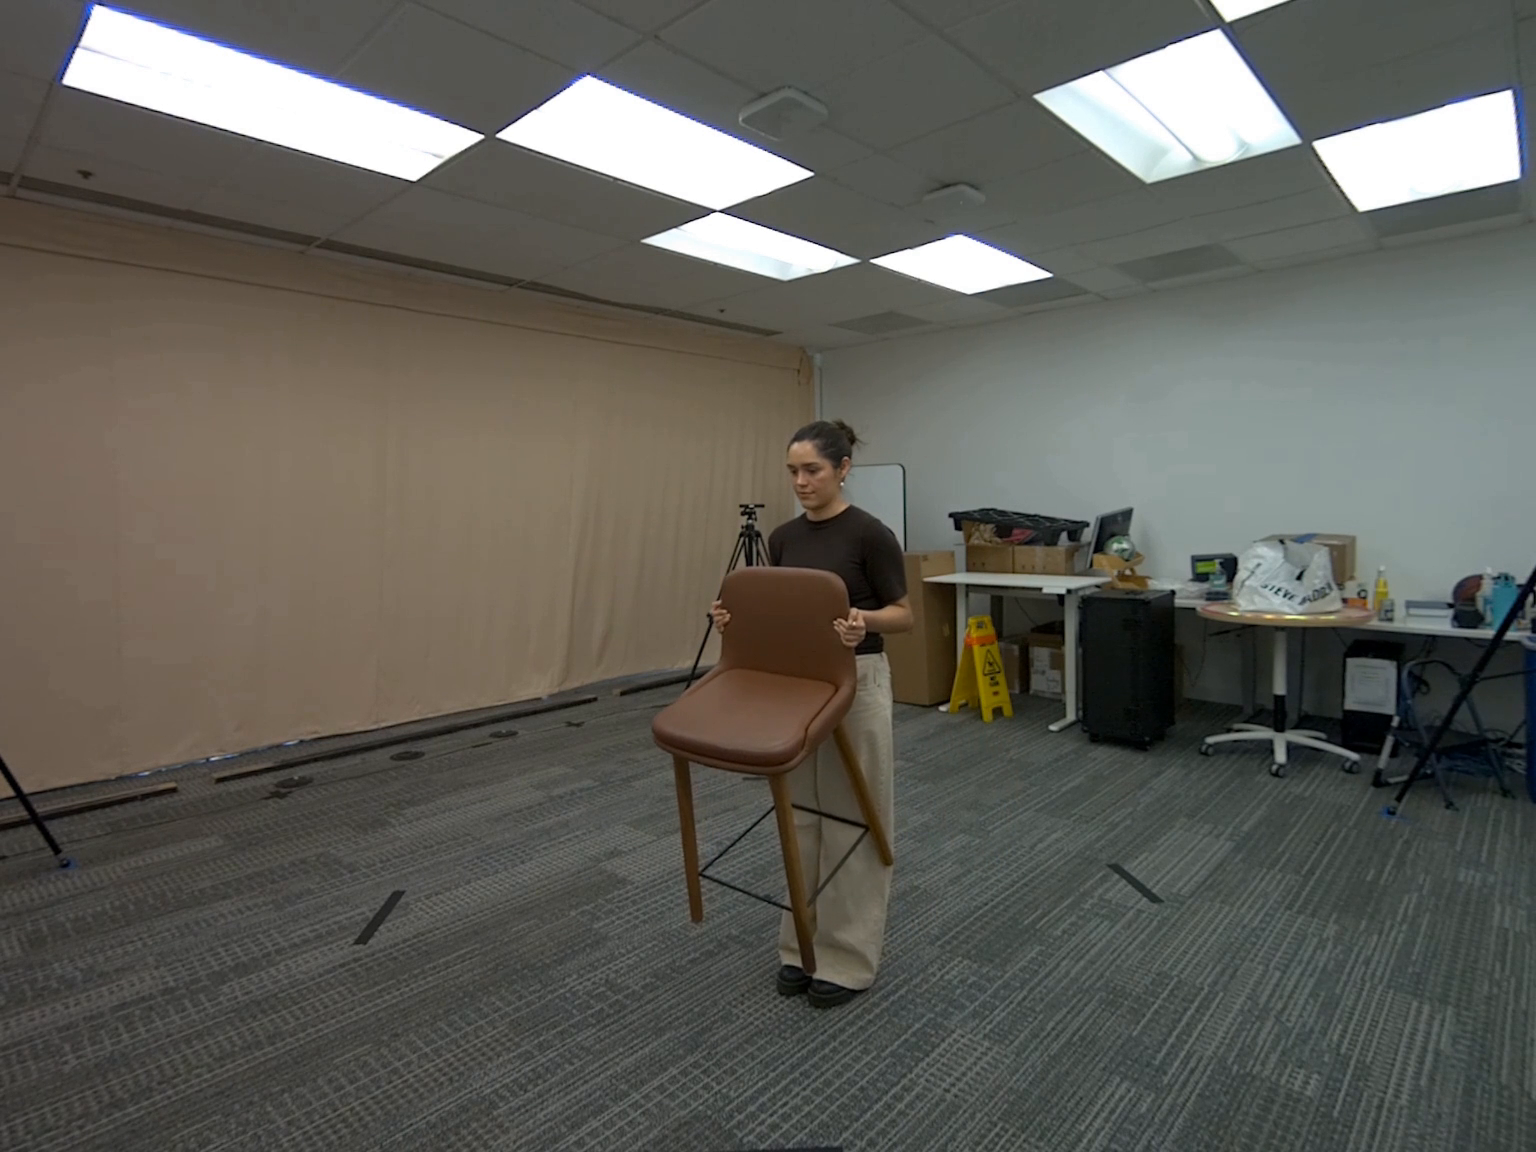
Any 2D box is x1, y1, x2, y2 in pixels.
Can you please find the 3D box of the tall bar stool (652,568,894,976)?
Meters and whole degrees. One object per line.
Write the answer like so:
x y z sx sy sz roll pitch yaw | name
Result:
0.002 0.479 2.206 0.472 0.878 0.458 4 21 40 | tall bar stool
